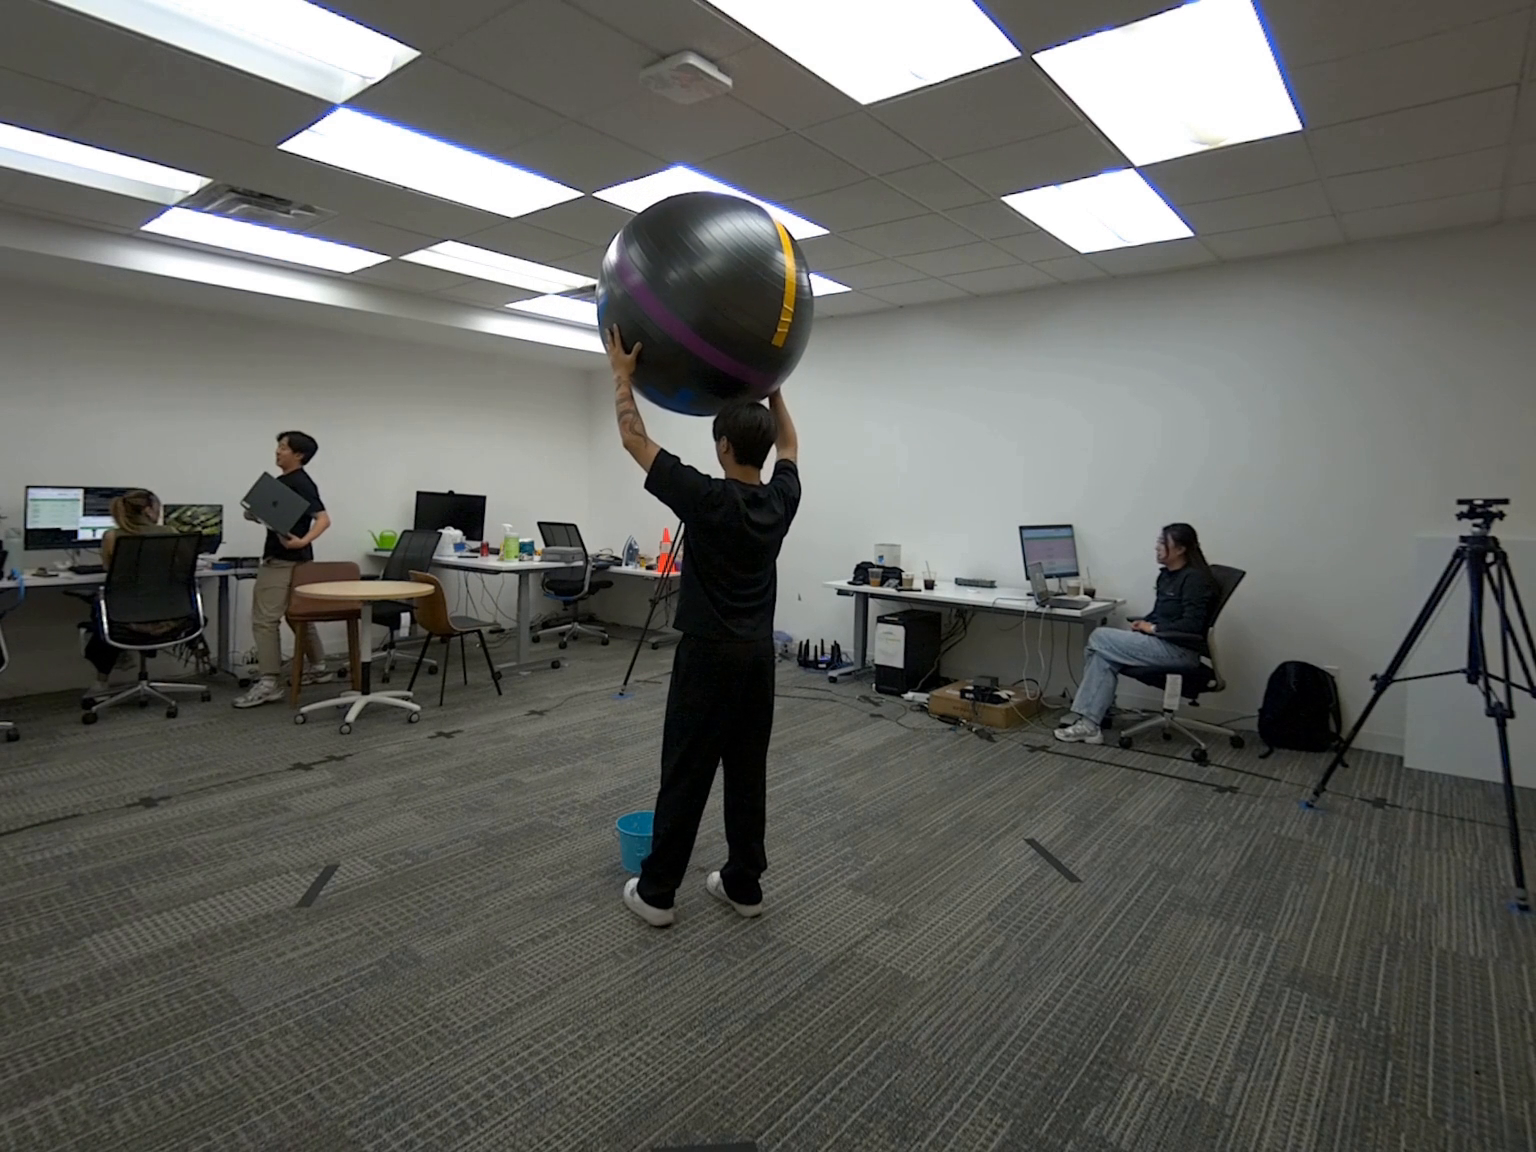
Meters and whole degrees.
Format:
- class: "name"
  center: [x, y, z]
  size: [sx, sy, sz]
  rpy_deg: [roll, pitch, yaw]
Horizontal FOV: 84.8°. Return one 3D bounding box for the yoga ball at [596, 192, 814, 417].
- class: "yoga ball"
  center: [-0.230, -0.936, 2.965]
  size: [0.757, 0.755, 0.762]
  rpy_deg: [1, 4, -2]
